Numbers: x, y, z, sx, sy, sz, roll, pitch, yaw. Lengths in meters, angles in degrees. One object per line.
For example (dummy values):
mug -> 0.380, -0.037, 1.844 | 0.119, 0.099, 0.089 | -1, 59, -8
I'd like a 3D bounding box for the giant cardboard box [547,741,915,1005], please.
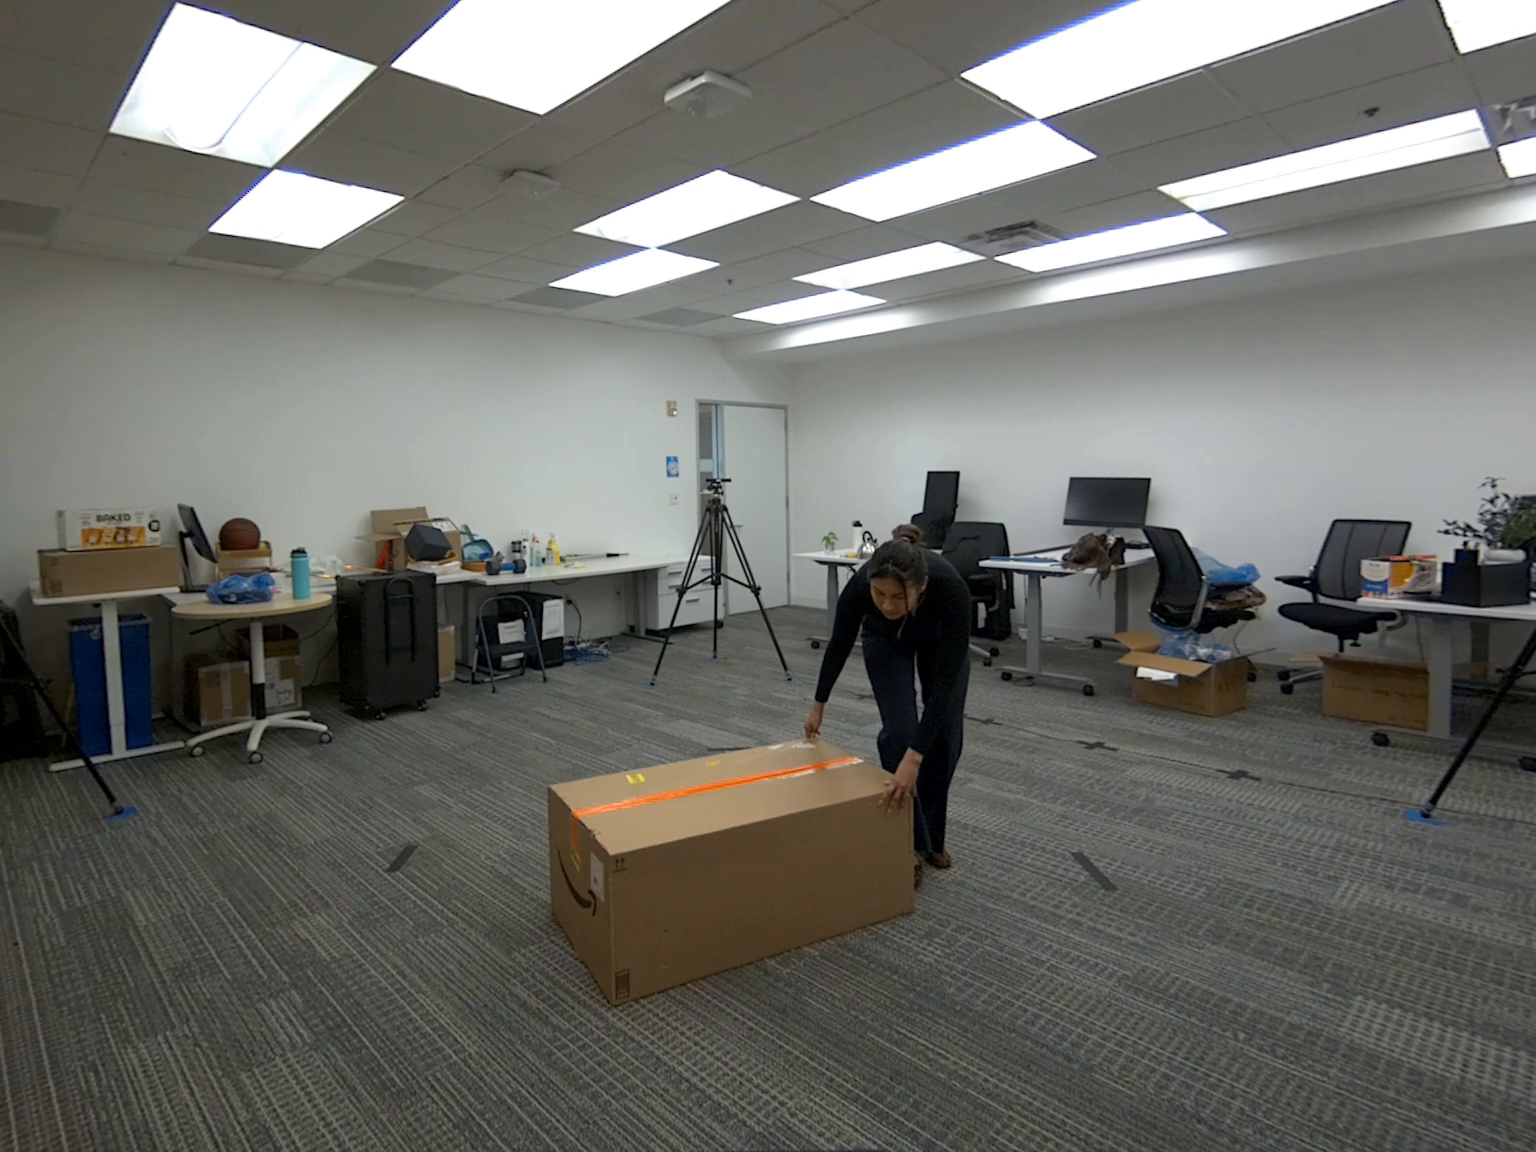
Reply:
giant cardboard box -> -0.120, 0.874, 2.737 | 1.003, 0.424, 0.593 | -4, 6, -28
